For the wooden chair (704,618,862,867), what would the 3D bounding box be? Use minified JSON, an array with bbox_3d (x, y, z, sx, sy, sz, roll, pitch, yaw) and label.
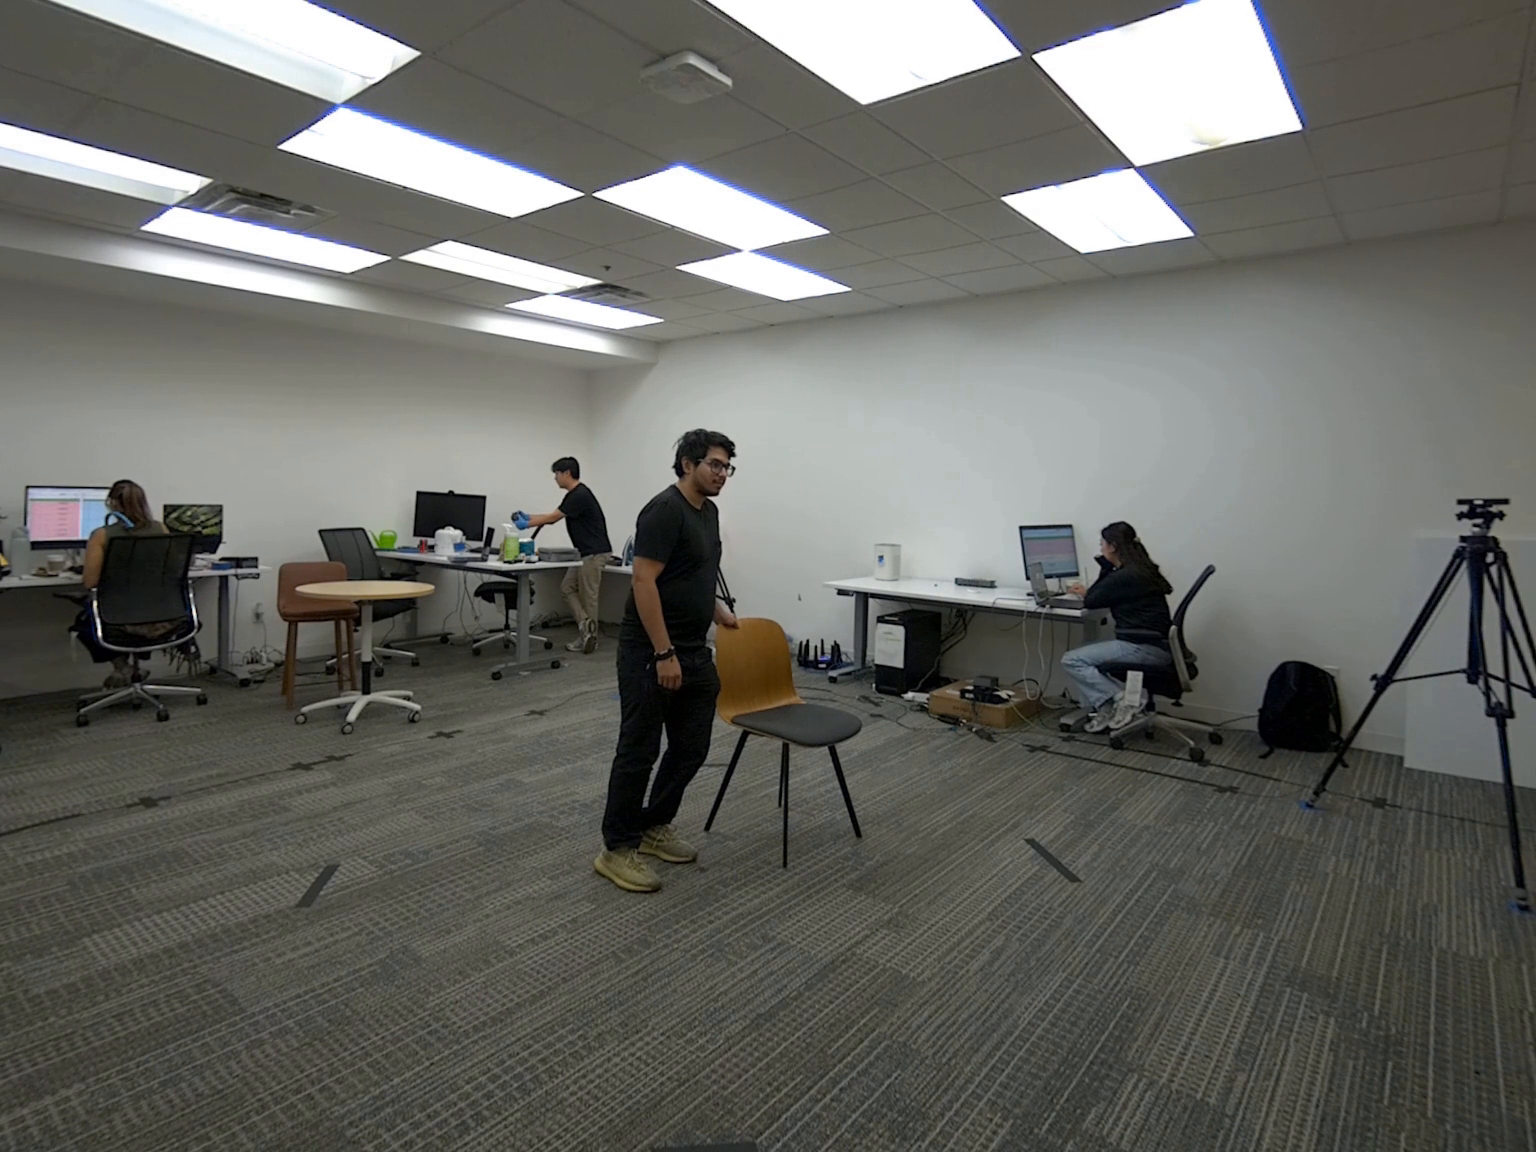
[{"bbox_3d":[0.068,0.620,3.414,0.463,0.877,0.539,-2,1,-44],"label":"wooden chair"}]
